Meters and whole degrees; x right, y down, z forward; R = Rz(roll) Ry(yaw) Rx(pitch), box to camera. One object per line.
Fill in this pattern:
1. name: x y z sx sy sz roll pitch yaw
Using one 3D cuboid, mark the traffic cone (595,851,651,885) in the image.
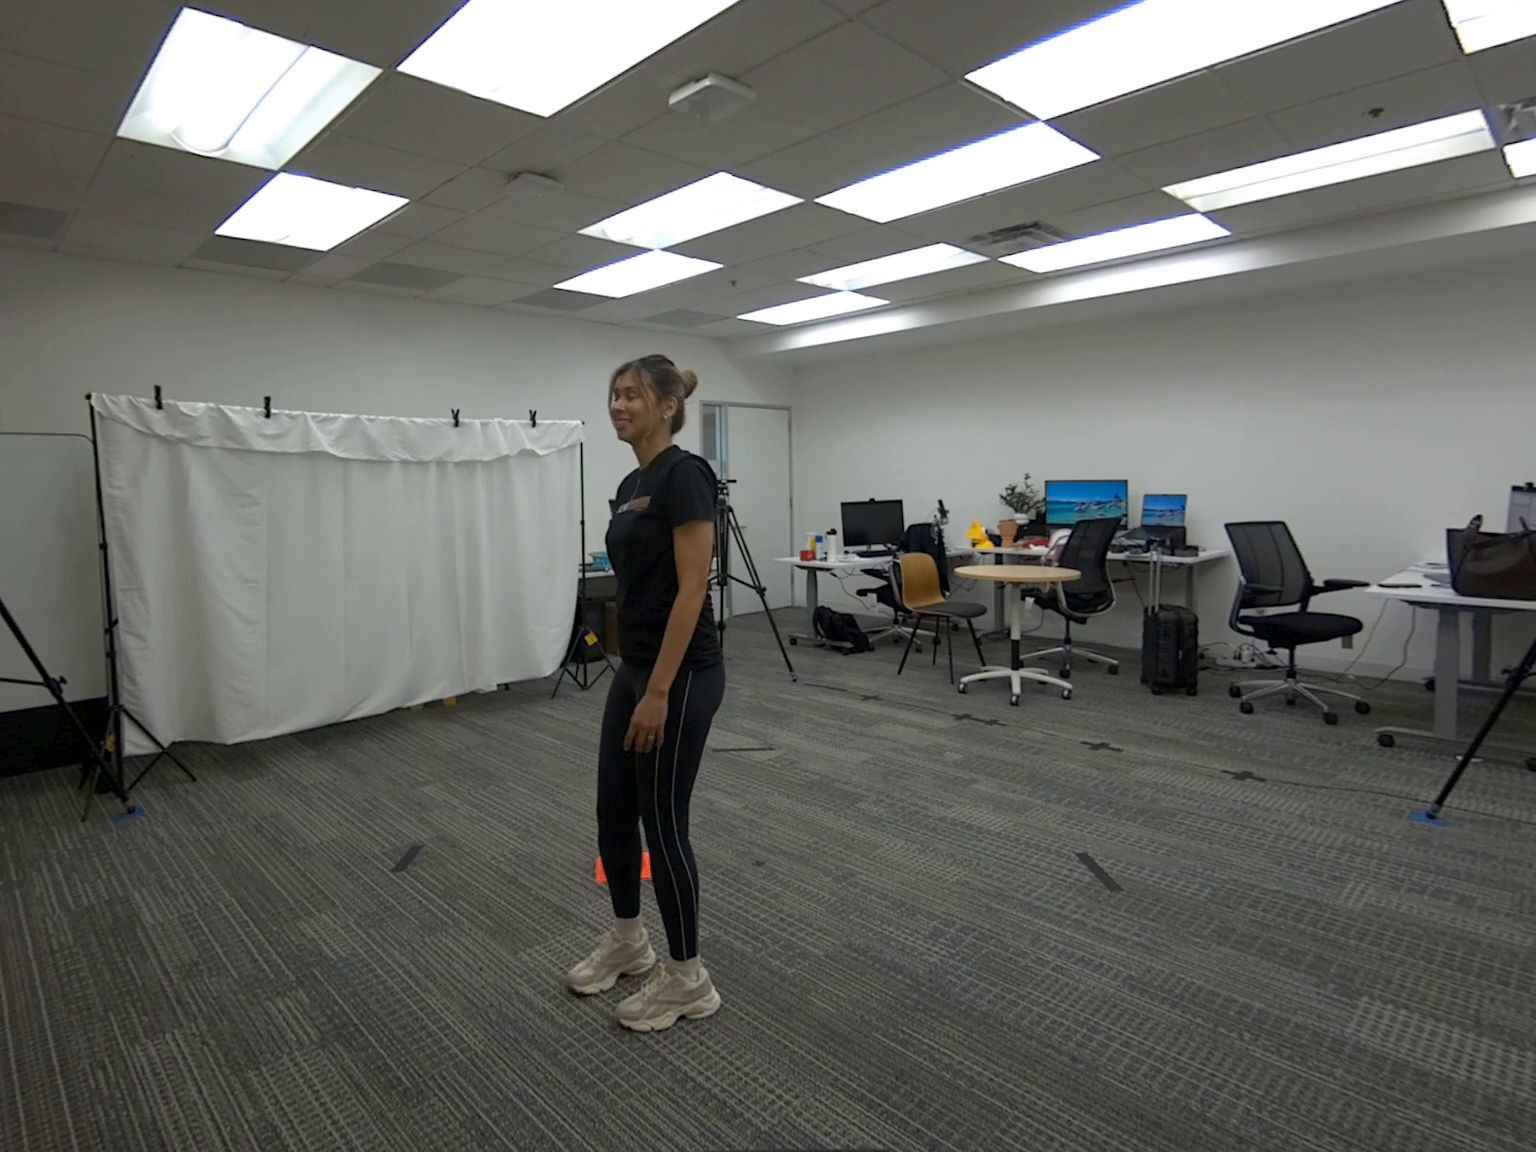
1. traffic cone: -0.526 0.877 3.079 0.202 0.382 0.207 -4 4 -7
